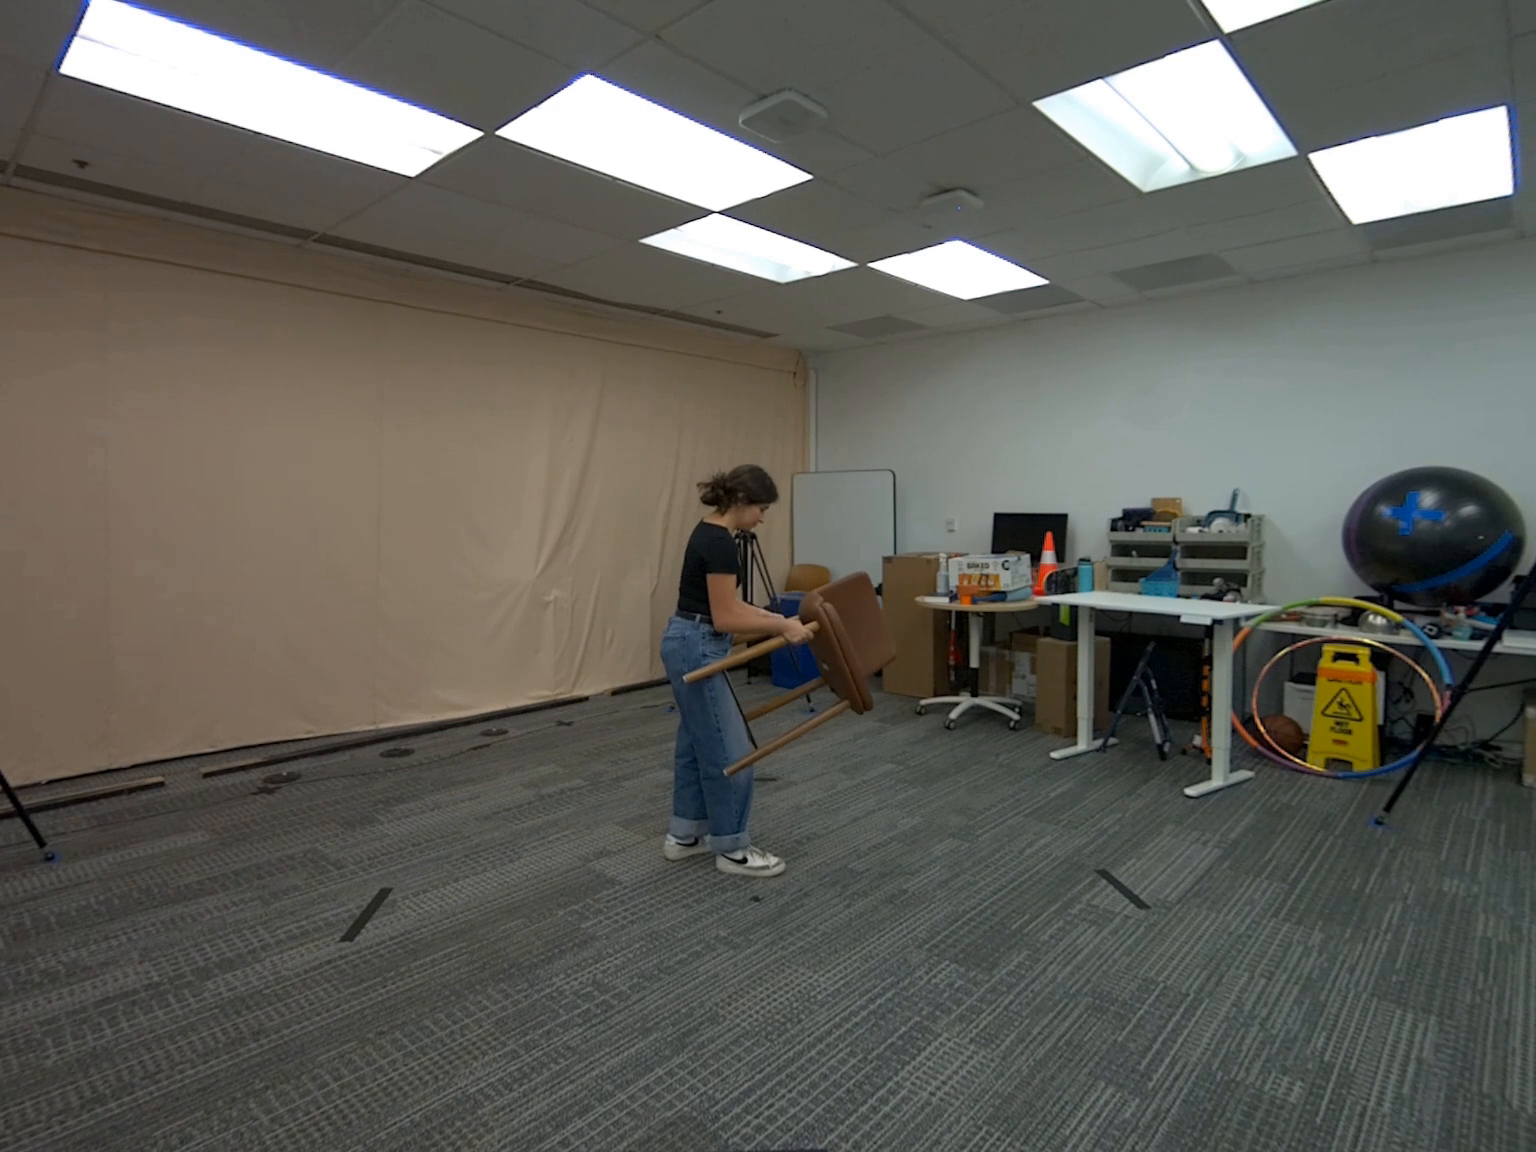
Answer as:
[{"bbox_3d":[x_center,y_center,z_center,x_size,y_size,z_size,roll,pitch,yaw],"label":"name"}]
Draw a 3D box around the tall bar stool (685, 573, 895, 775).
[{"bbox_3d":[0.137,0.348,3.285,0.885,0.453,0.473,-24,8,-7],"label":"tall bar stool"}]
